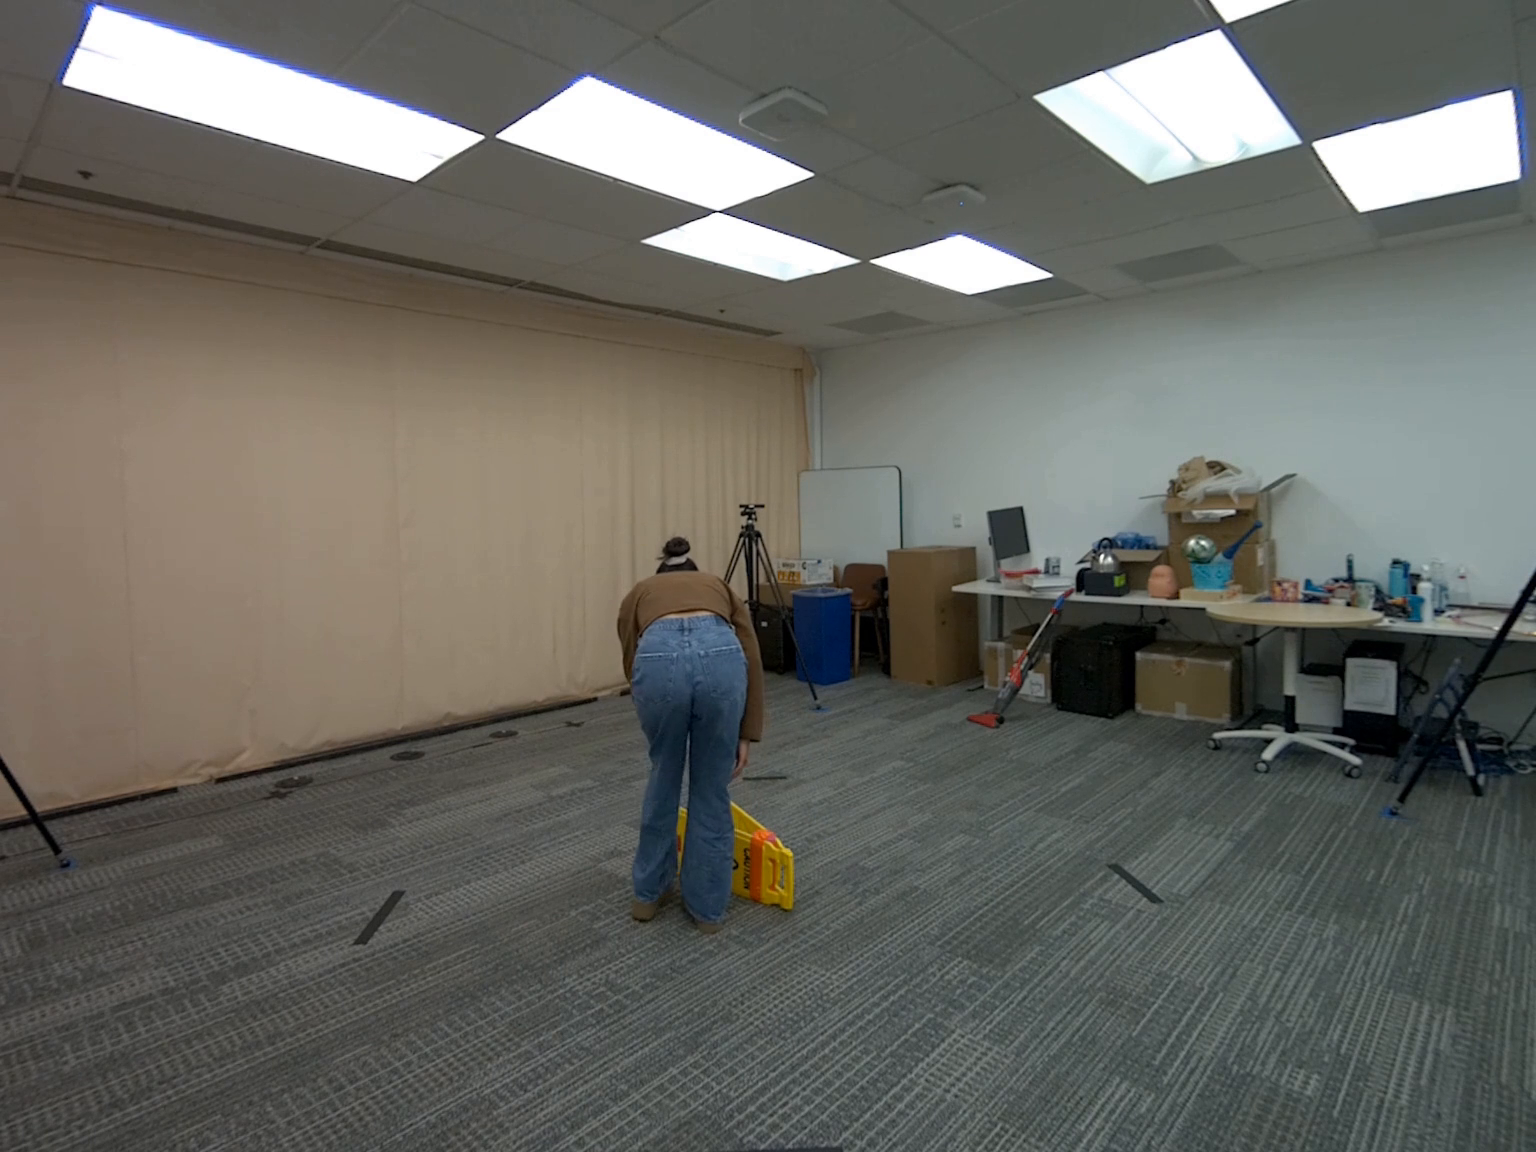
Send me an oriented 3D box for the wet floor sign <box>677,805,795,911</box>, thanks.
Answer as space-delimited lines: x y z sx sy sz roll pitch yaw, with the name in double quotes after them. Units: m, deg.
-0.136 1.007 3.106 0.281 0.281 0.668 -4 8 -42 "wet floor sign"
